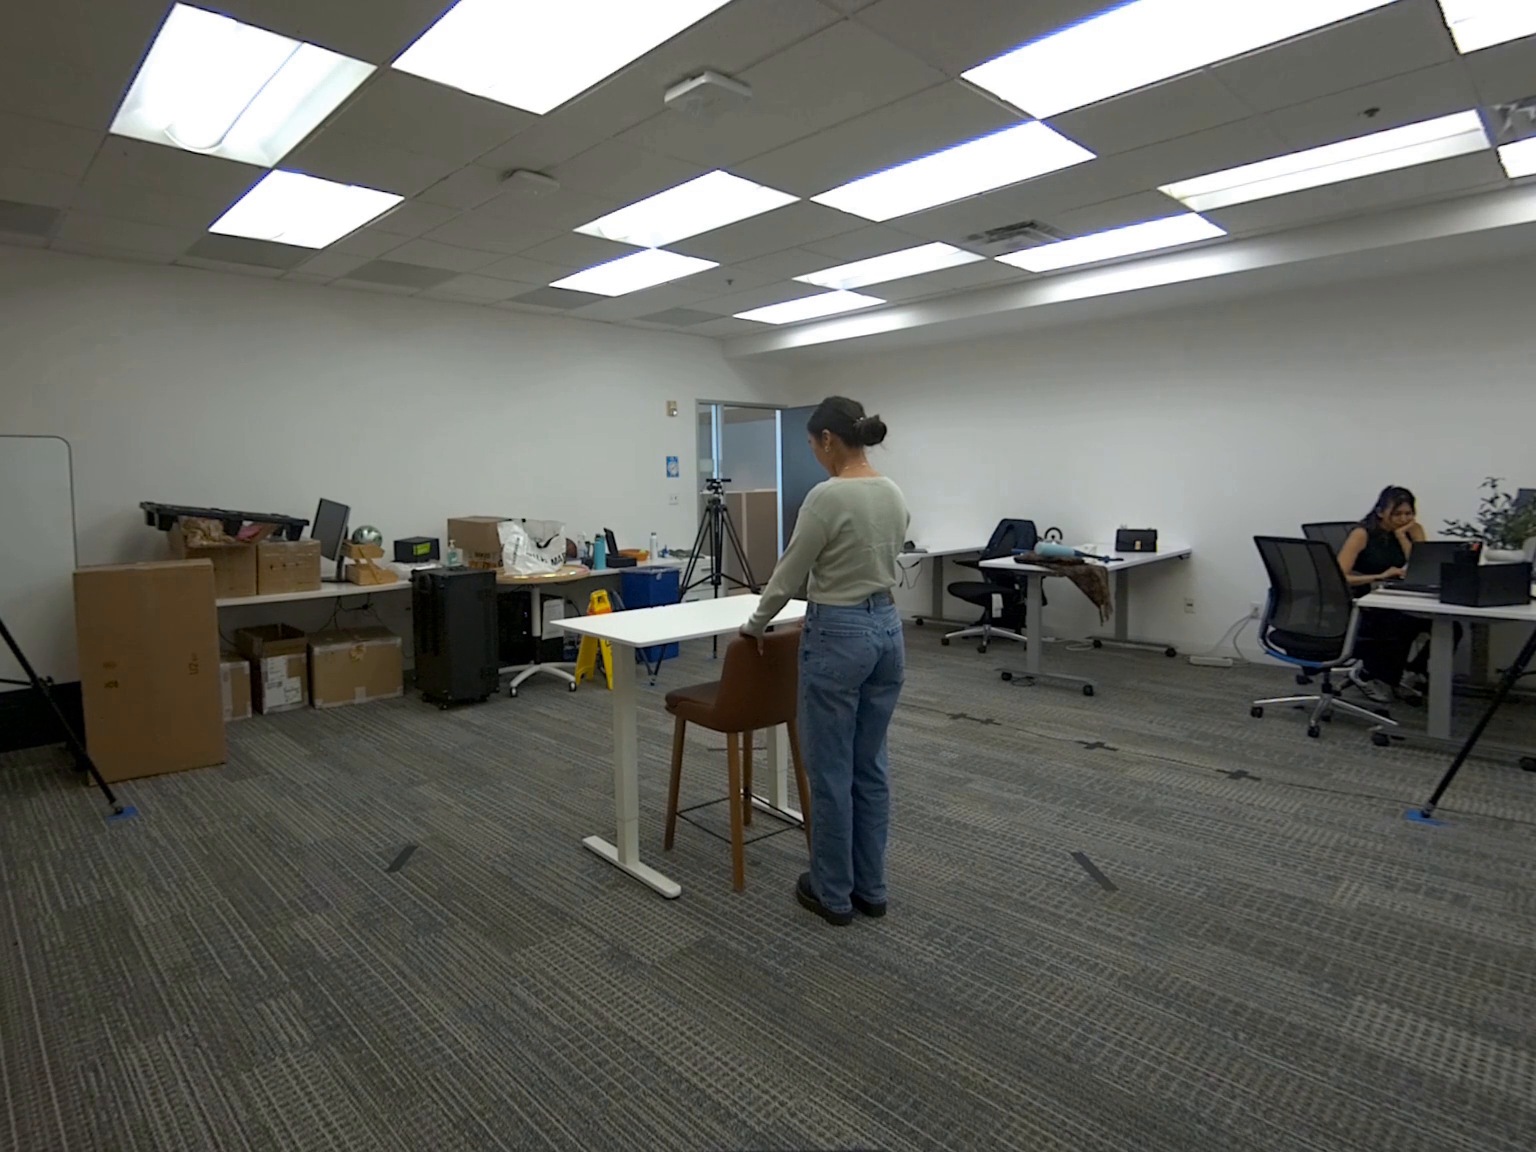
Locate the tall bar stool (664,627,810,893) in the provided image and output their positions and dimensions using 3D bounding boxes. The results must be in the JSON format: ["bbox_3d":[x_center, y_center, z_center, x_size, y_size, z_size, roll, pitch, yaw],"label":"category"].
[{"bbox_3d":[-0.095,0.606,3.136,0.444,0.885,0.482,-3,7,-37],"label":"tall bar stool"}]
